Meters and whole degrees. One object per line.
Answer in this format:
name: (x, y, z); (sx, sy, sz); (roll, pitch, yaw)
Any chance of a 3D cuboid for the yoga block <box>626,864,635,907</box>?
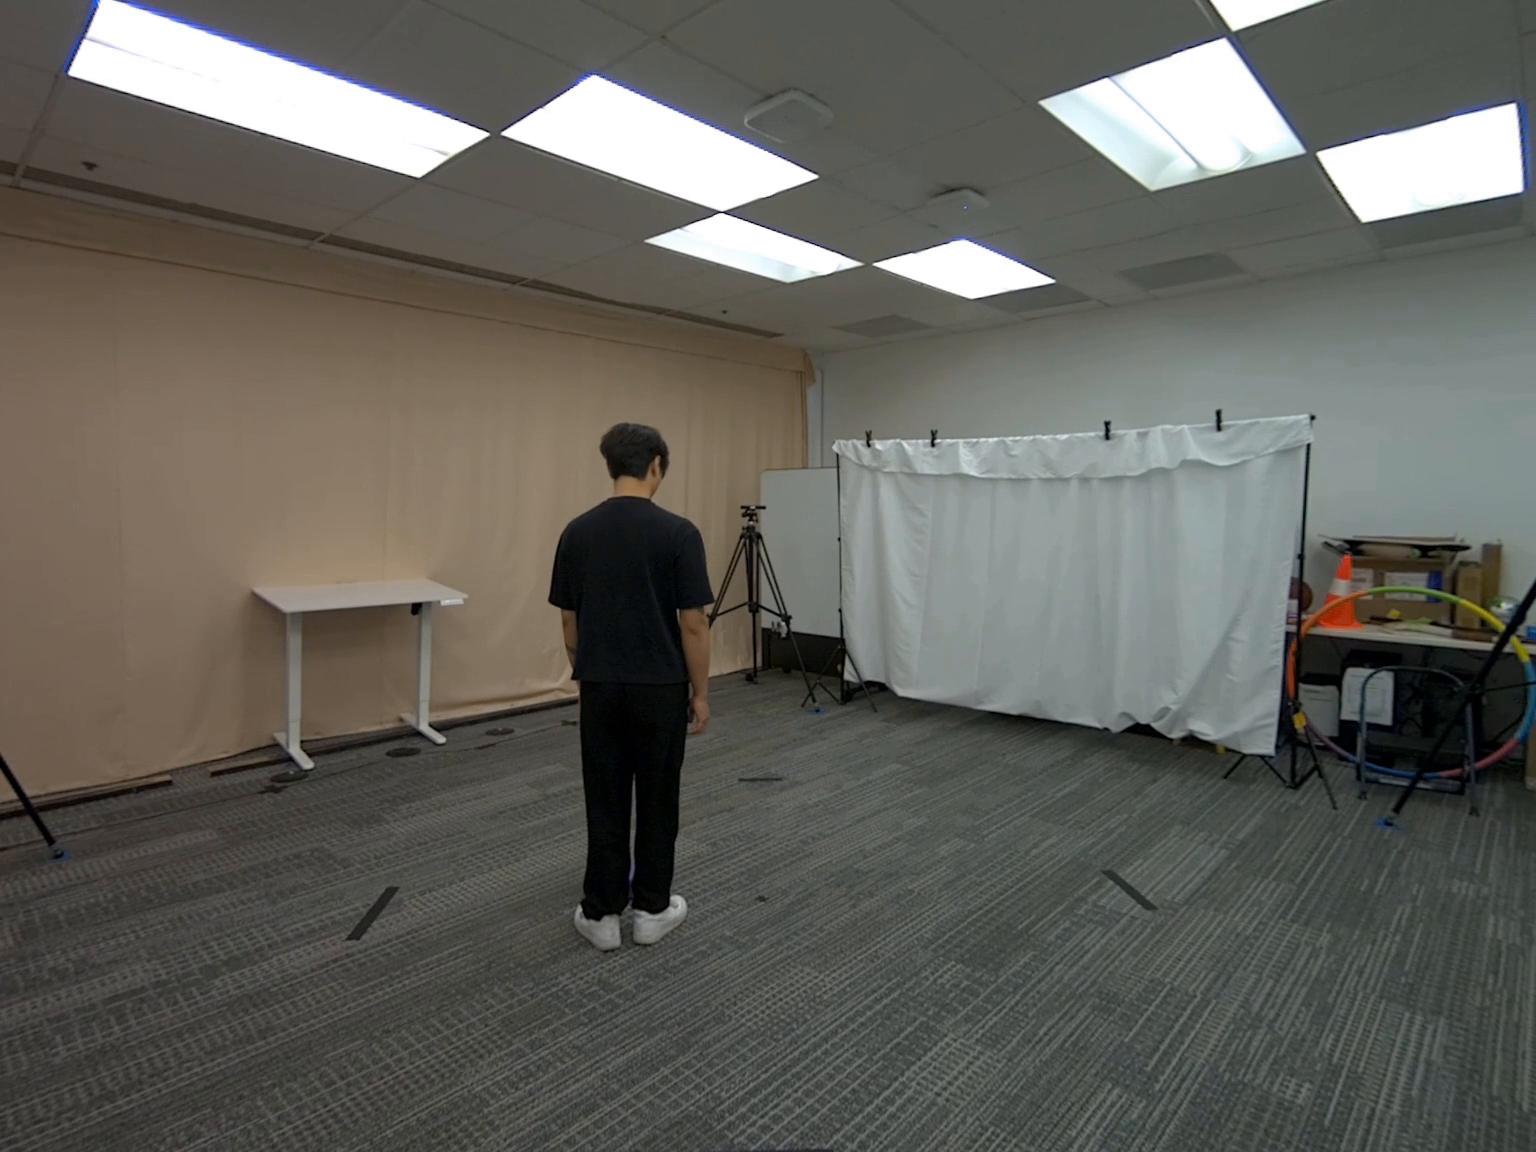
yoga block: (-0.508, 1.099, 3.044); (0.230, 0.076, 0.149); (3, 4, 2)
